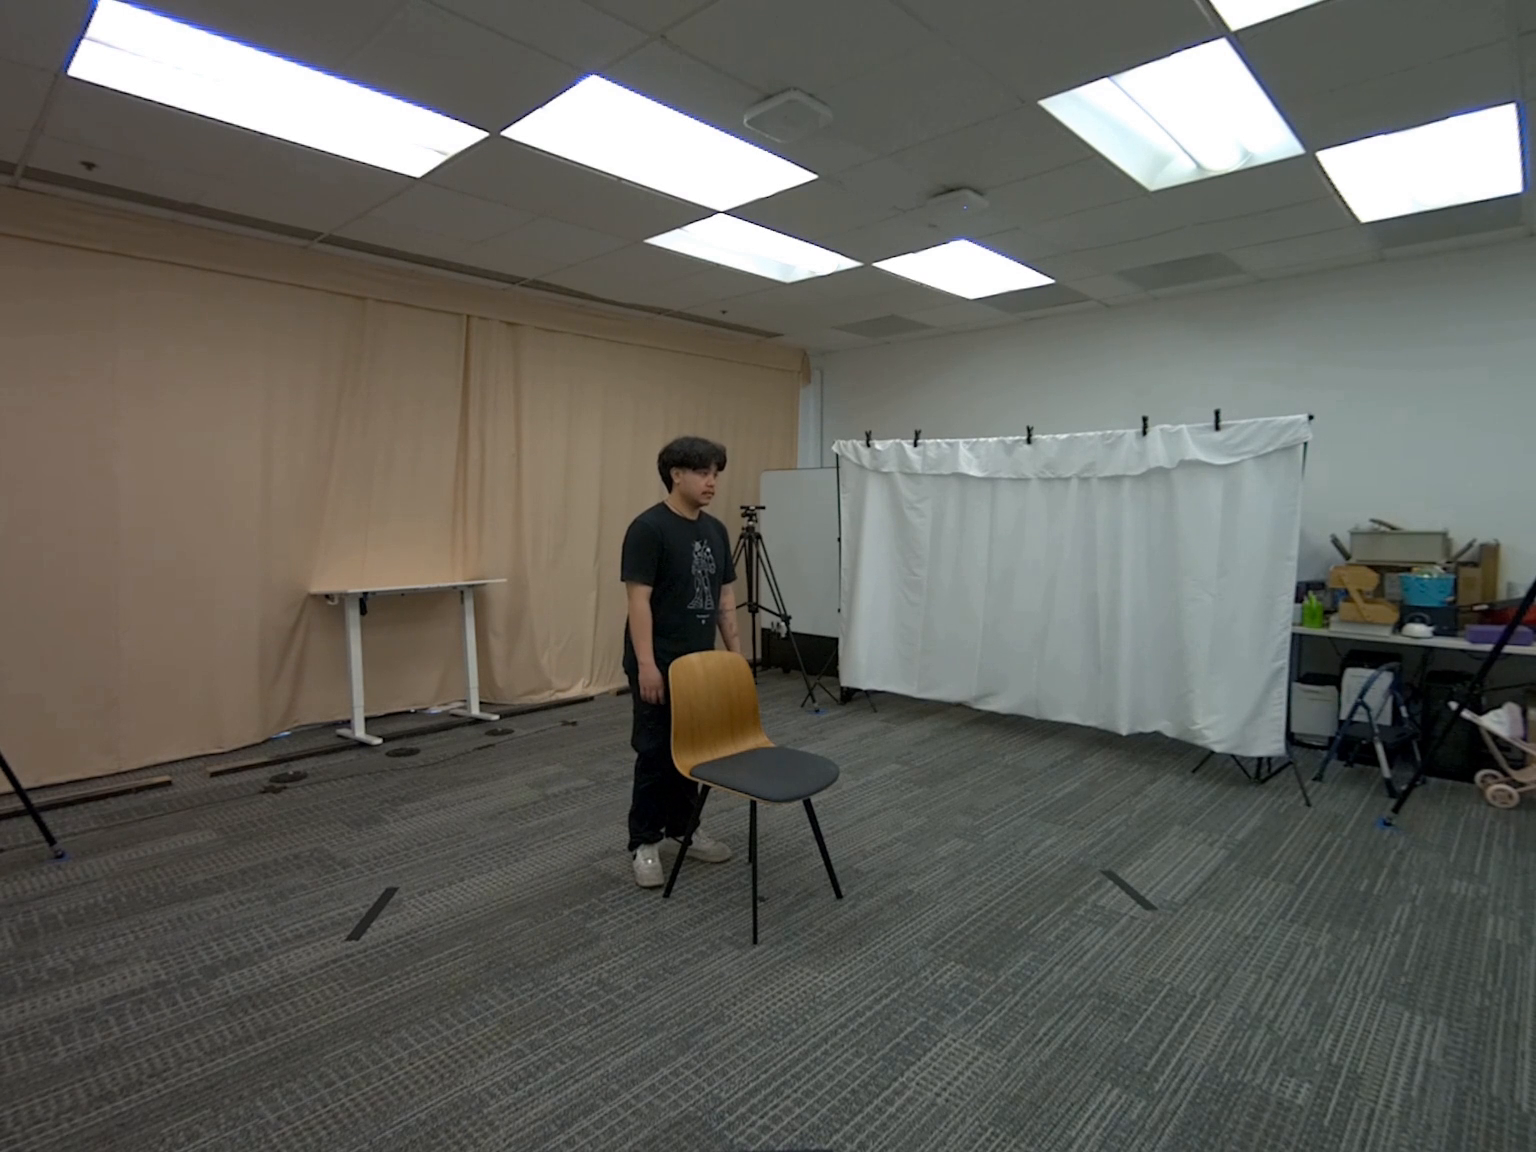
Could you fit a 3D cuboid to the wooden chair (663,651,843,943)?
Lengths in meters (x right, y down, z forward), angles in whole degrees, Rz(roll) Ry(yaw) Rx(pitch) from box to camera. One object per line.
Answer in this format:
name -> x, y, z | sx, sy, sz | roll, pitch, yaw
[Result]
wooden chair -> -0.042, 0.723, 2.950 | 0.539, 0.877, 0.463 | -3, 0, 44
